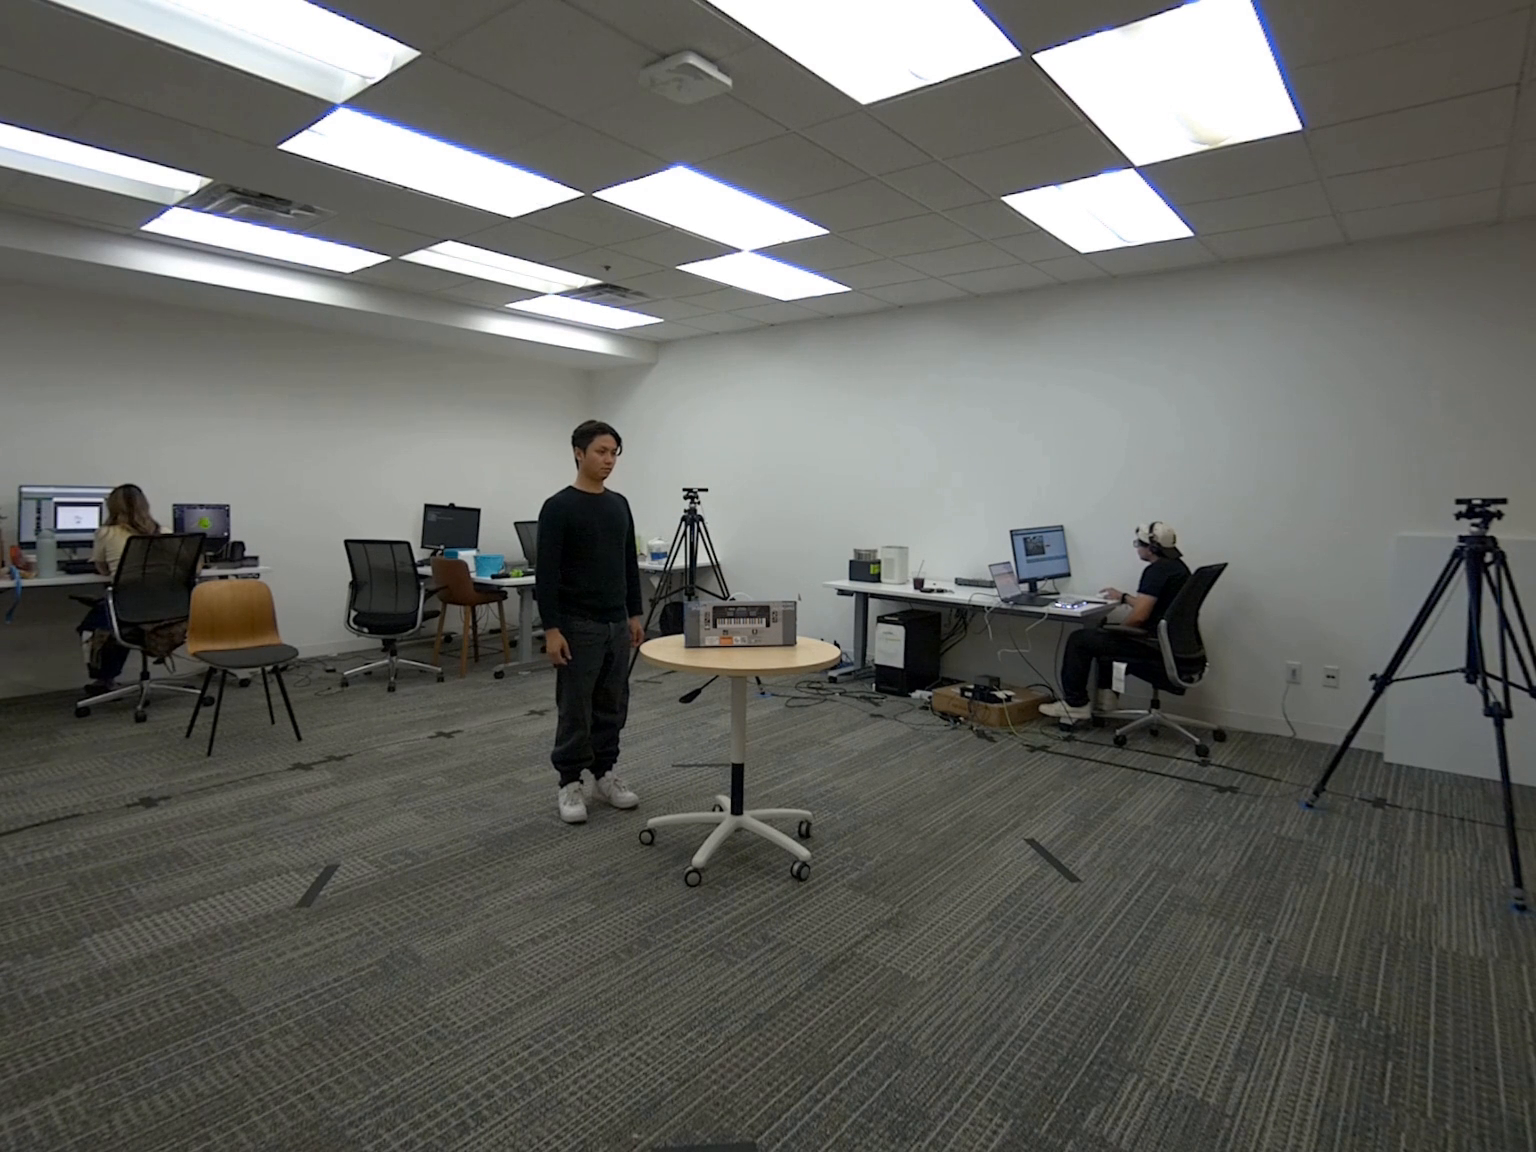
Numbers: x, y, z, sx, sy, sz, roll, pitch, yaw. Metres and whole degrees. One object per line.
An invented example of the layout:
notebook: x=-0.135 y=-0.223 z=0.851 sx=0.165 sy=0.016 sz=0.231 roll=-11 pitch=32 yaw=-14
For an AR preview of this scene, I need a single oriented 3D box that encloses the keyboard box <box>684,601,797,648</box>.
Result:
keyboard box: x=-0.113 y=0.180 z=3.304 sx=0.433 sy=0.176 sz=0.059 roll=-1 pitch=-2 yaw=-8
